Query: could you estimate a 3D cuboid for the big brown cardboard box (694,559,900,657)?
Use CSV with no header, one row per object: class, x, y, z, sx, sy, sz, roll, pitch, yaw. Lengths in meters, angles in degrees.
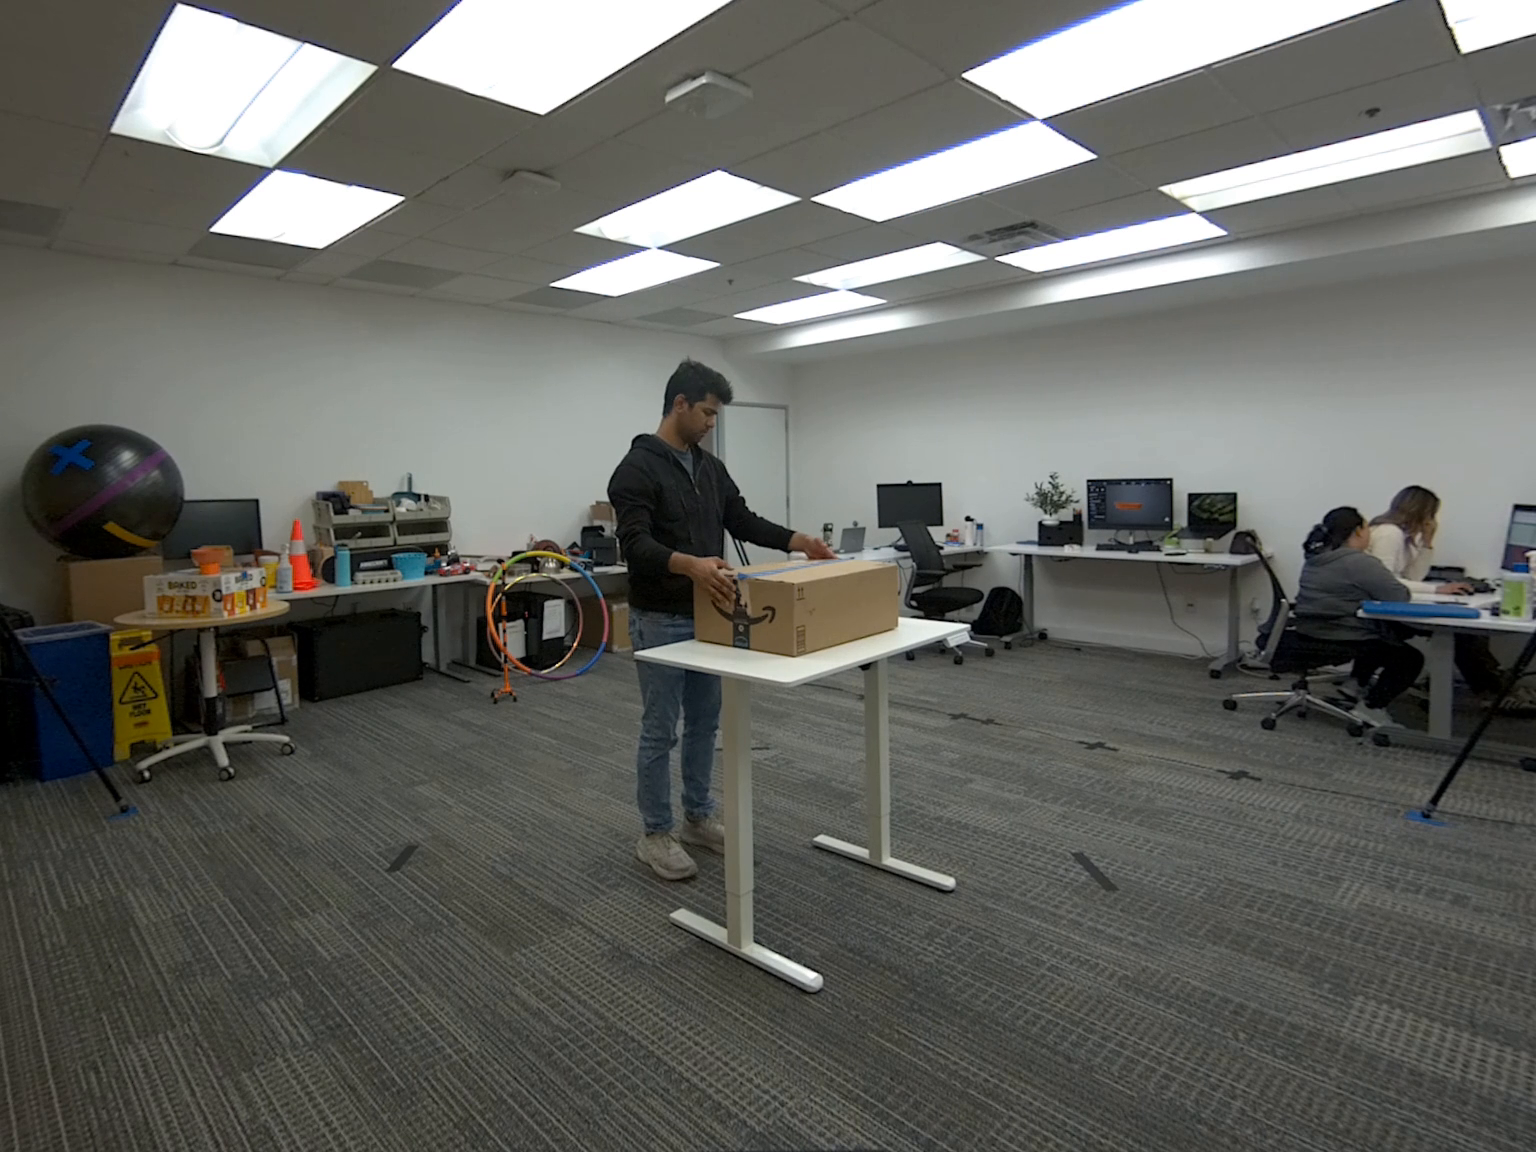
big brown cardboard box,0.096,0.072,2.810,0.430,0.232,0.574,4,9,41
